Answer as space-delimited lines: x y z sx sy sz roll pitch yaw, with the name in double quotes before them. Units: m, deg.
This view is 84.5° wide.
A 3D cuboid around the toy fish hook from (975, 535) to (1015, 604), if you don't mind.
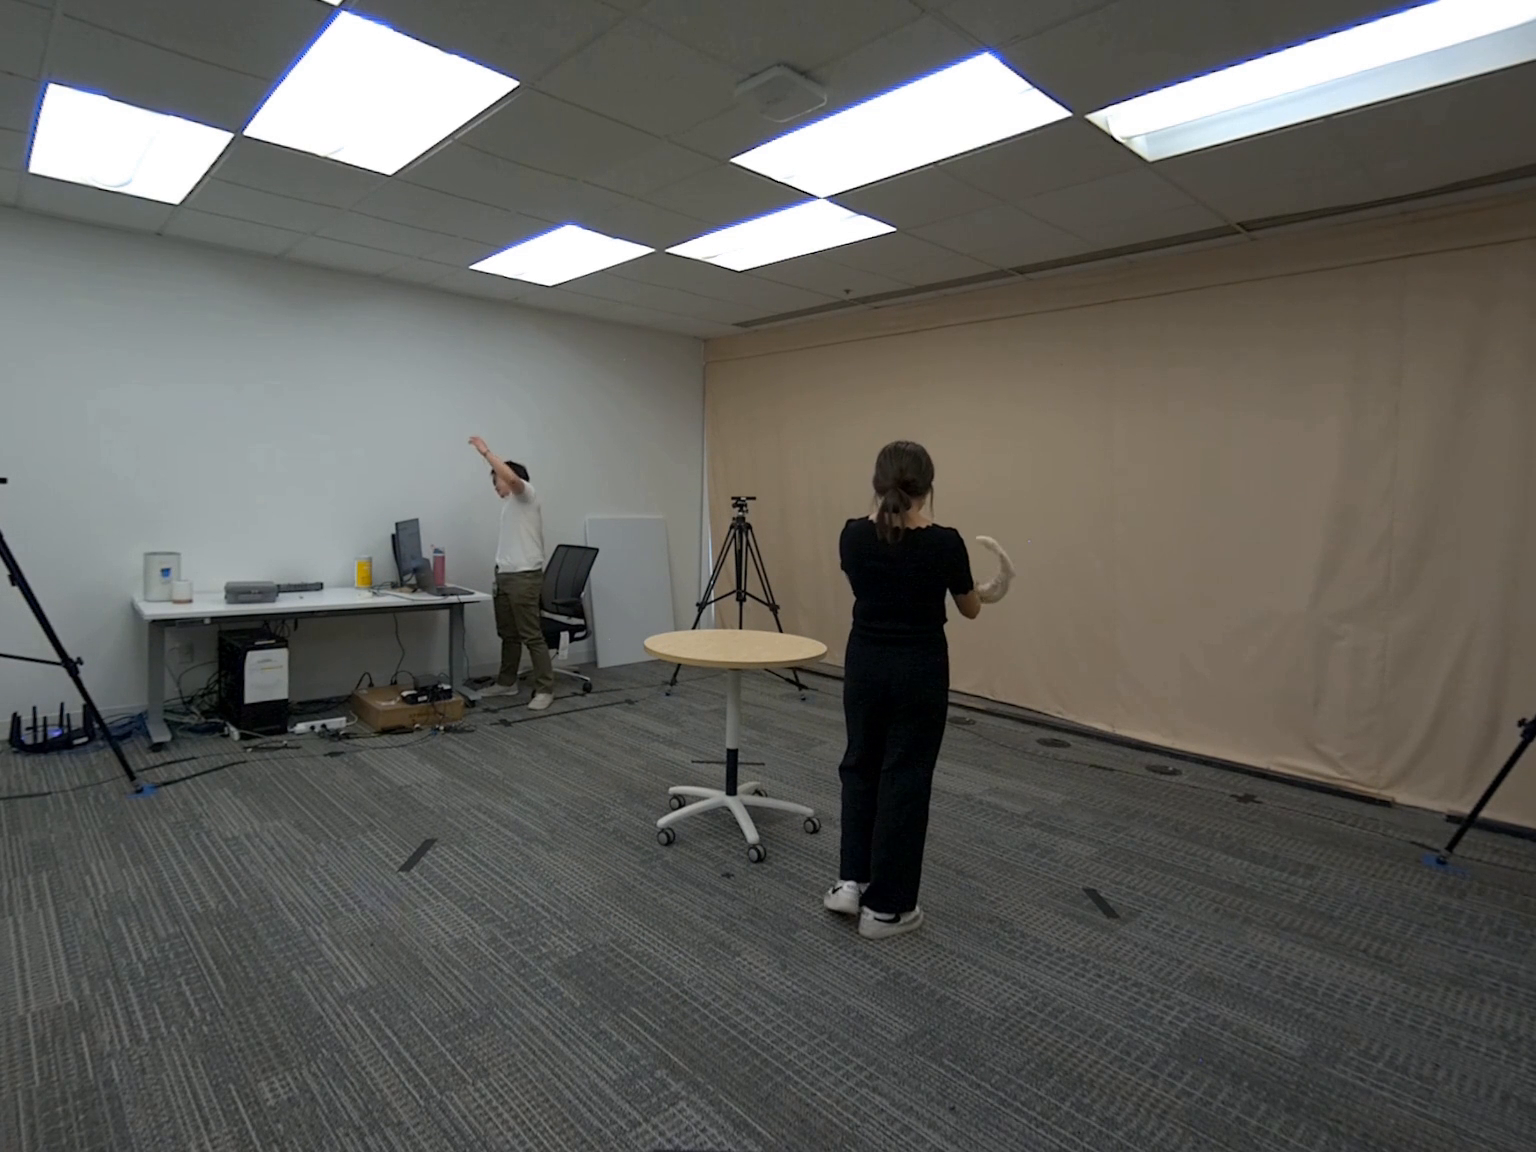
"toy fish hook" 0.667 -0.082 3.070 0.523 0.224 0.047 36 15 38
